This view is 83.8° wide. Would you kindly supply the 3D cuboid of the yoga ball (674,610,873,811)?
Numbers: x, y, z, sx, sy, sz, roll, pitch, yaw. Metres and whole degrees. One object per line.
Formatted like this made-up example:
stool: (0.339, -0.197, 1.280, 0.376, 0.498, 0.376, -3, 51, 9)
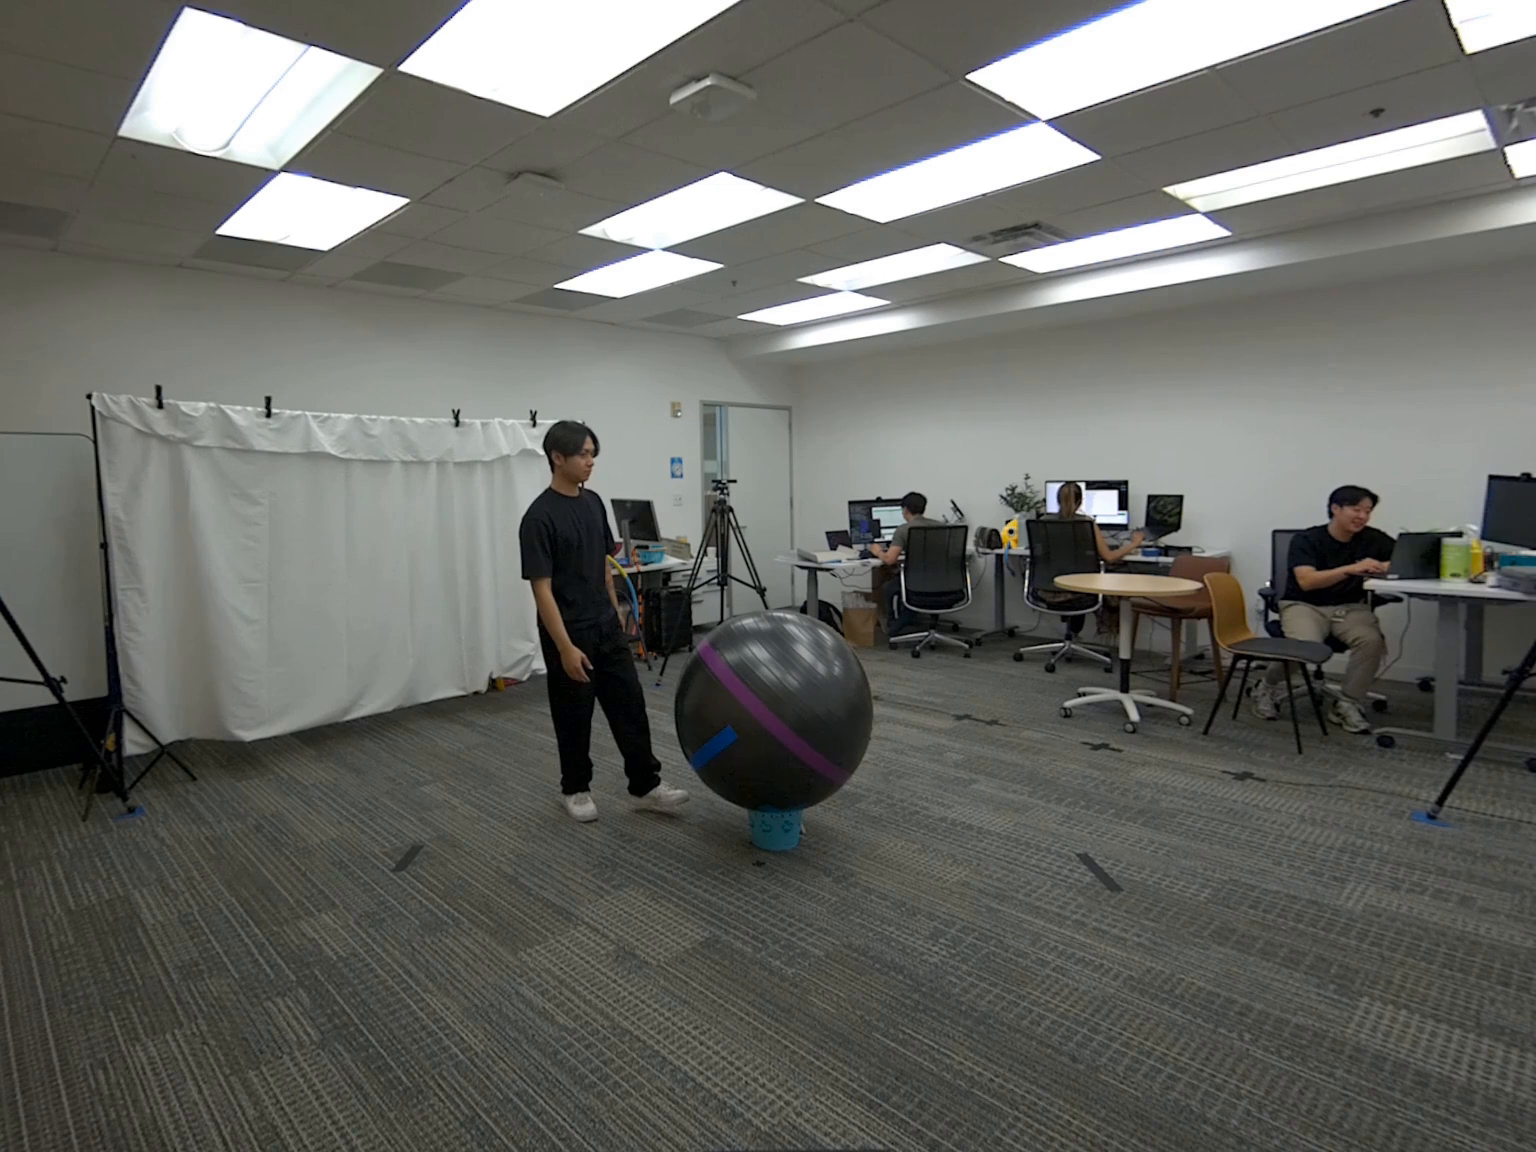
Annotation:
yoga ball: (0.030, 0.520, 3.283, 0.757, 0.755, 0.762, -1, 5, -2)
